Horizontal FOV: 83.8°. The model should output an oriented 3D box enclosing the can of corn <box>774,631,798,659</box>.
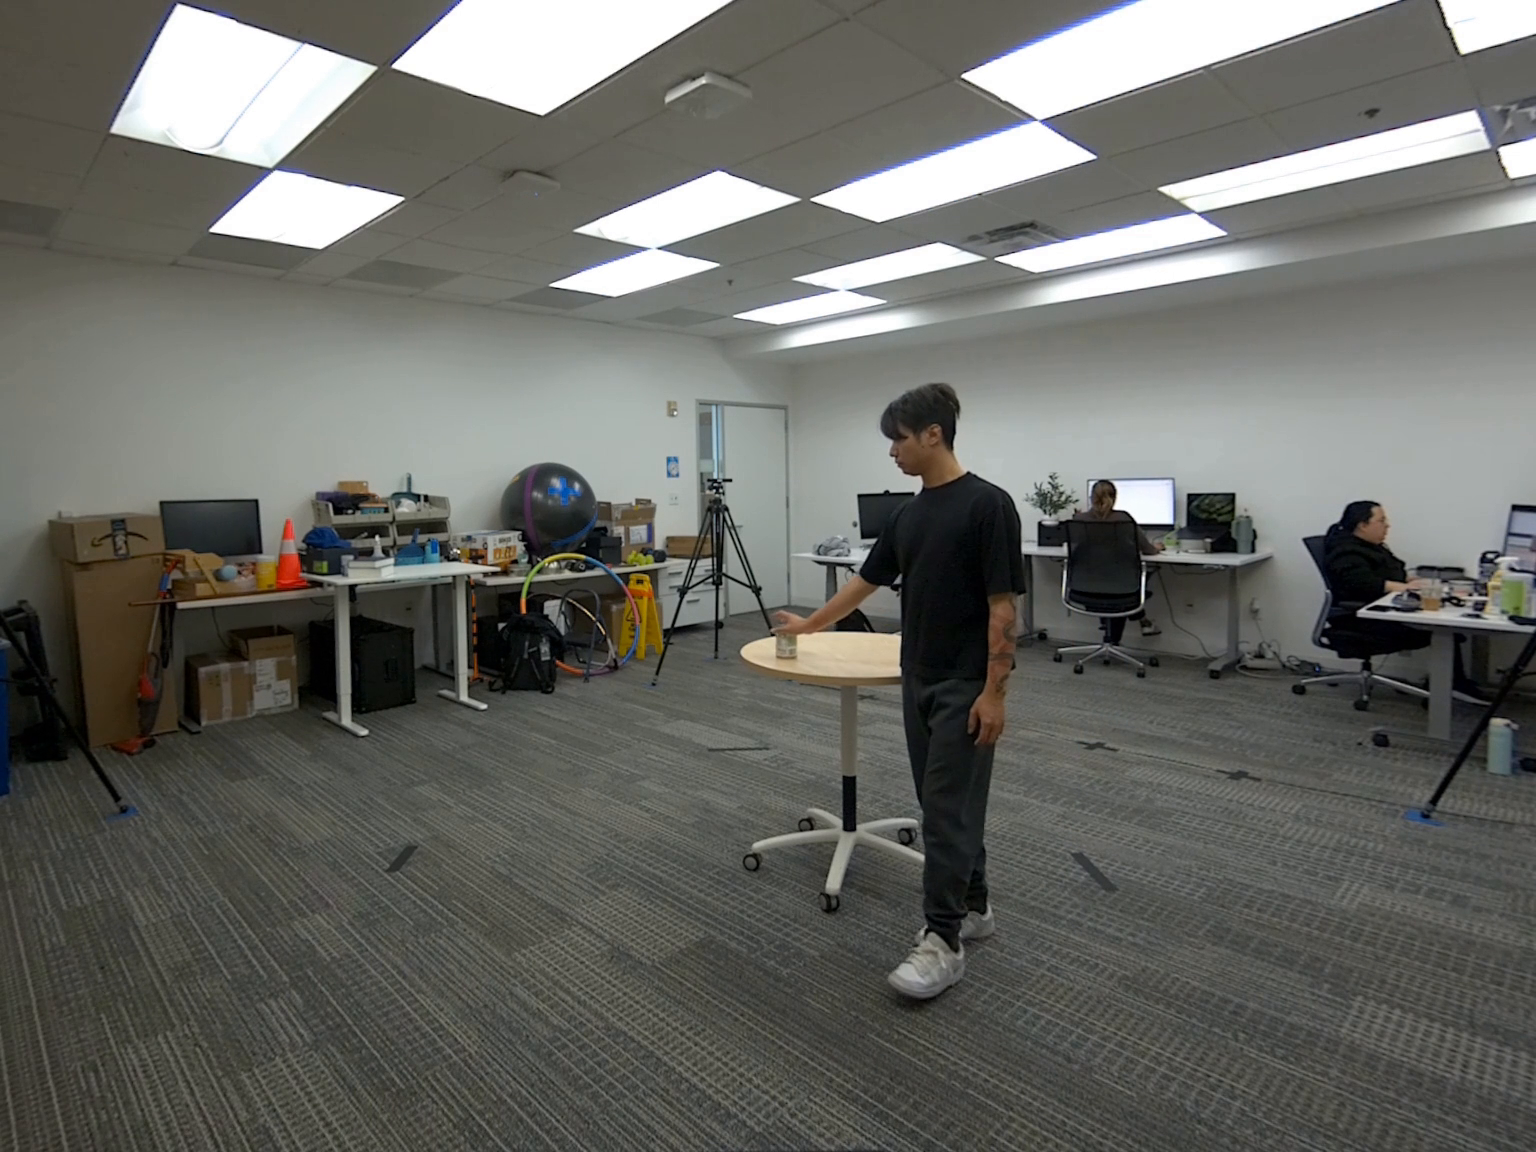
[{"bbox_3d":[0.075,0.222,2.922,0.074,0.110,0.074,-1,6,-2],"label":"can of corn"}]
